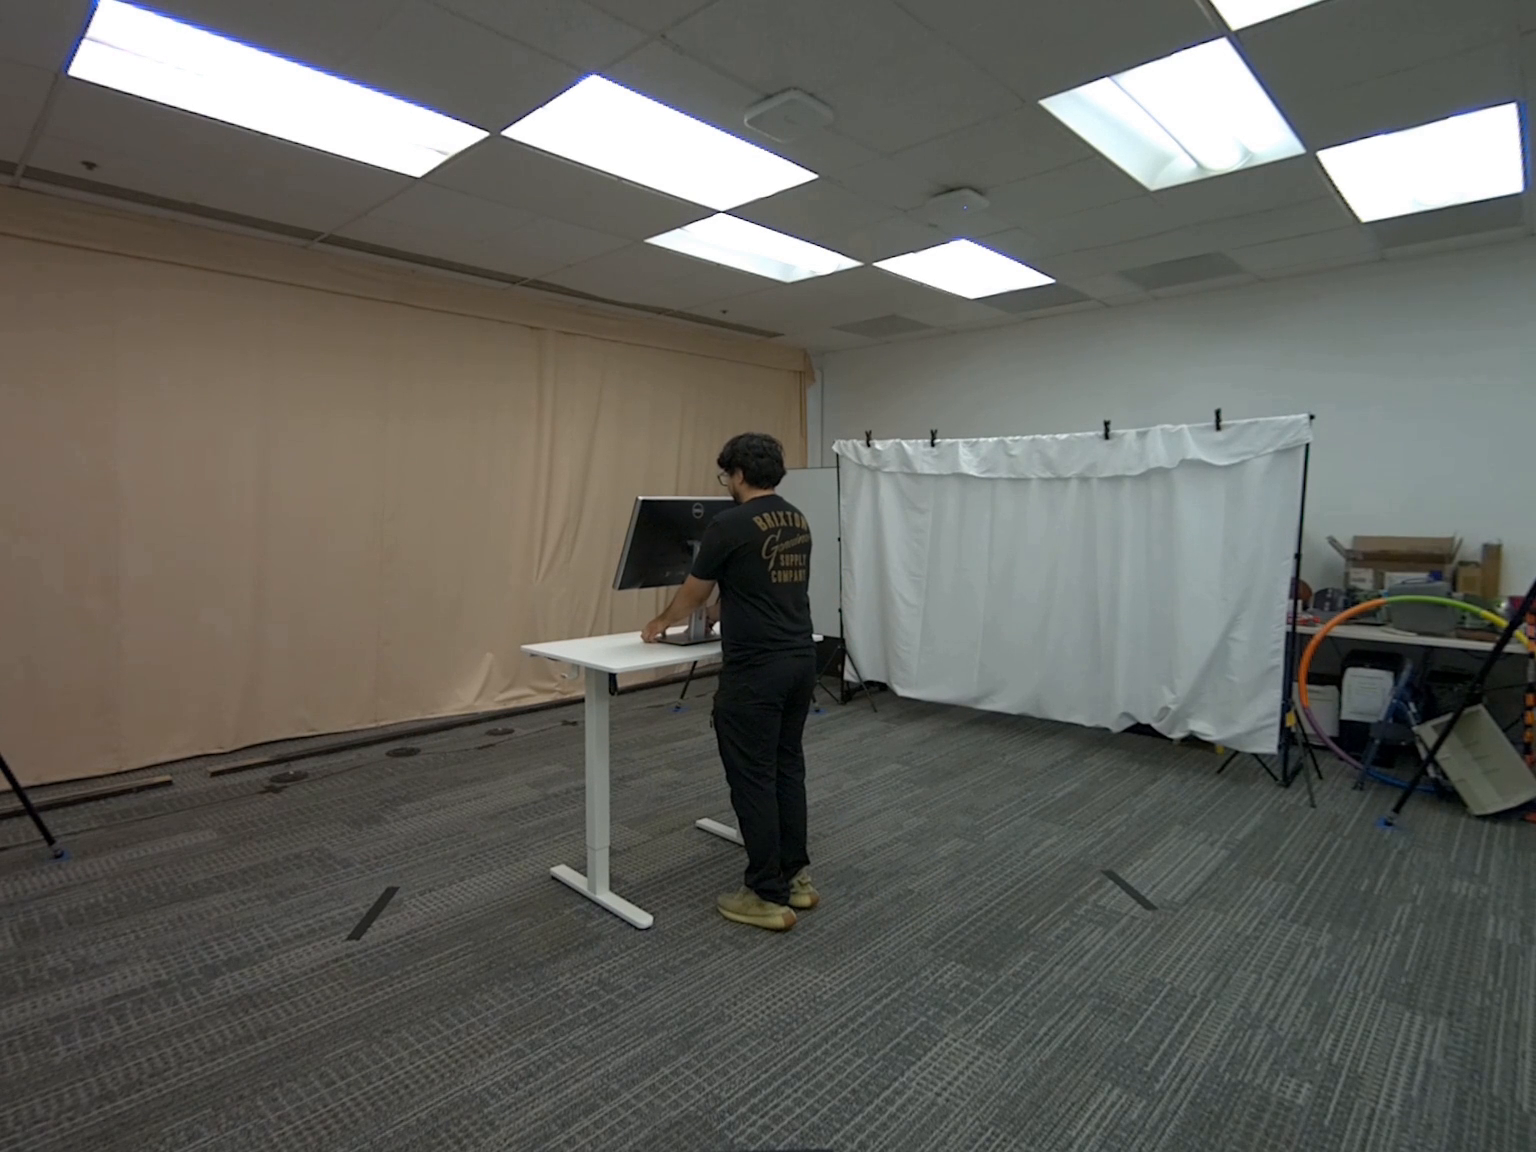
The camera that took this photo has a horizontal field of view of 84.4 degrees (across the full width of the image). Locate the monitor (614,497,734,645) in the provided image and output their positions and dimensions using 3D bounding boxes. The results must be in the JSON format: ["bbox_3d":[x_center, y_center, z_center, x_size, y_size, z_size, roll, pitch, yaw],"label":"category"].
[{"bbox_3d":[-0.280,-0.021,3.164,0.218,0.551,0.548,21,16,37],"label":"monitor"}]
